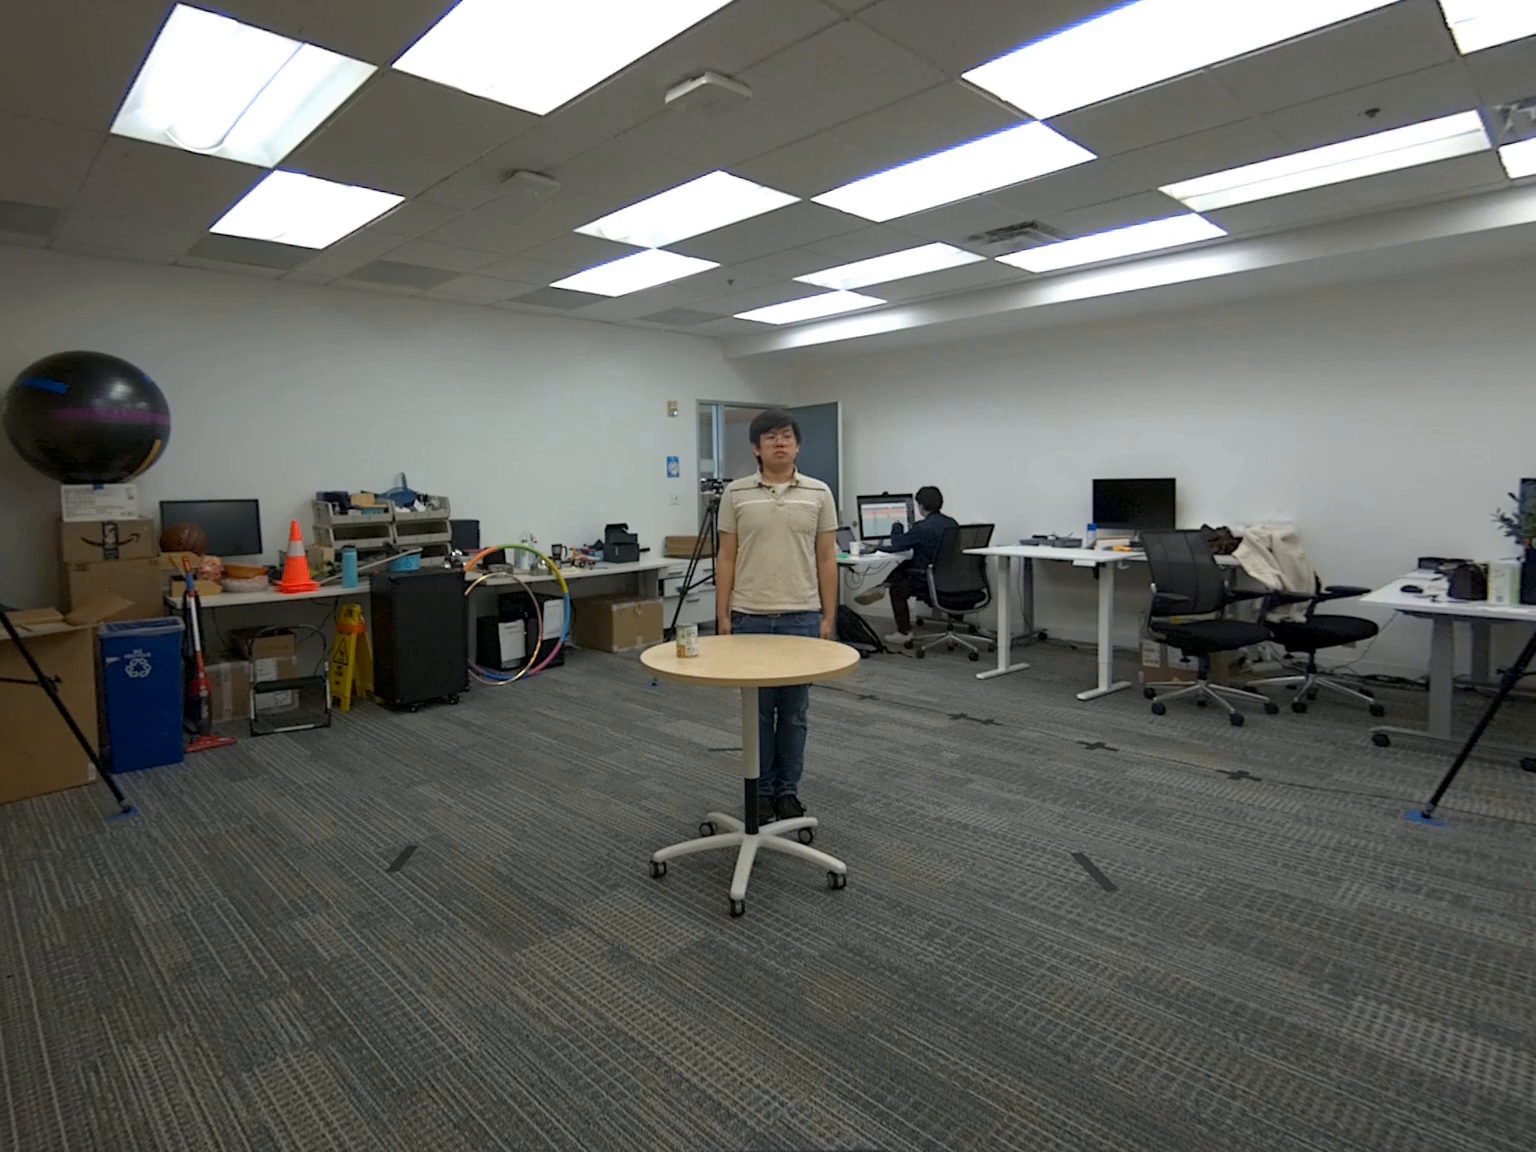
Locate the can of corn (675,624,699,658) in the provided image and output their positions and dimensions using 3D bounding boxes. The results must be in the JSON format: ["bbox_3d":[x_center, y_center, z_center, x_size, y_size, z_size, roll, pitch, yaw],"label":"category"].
[{"bbox_3d":[-0.279,0.221,2.979,0.074,0.111,0.074,-1,2,-2],"label":"can of corn"}]
